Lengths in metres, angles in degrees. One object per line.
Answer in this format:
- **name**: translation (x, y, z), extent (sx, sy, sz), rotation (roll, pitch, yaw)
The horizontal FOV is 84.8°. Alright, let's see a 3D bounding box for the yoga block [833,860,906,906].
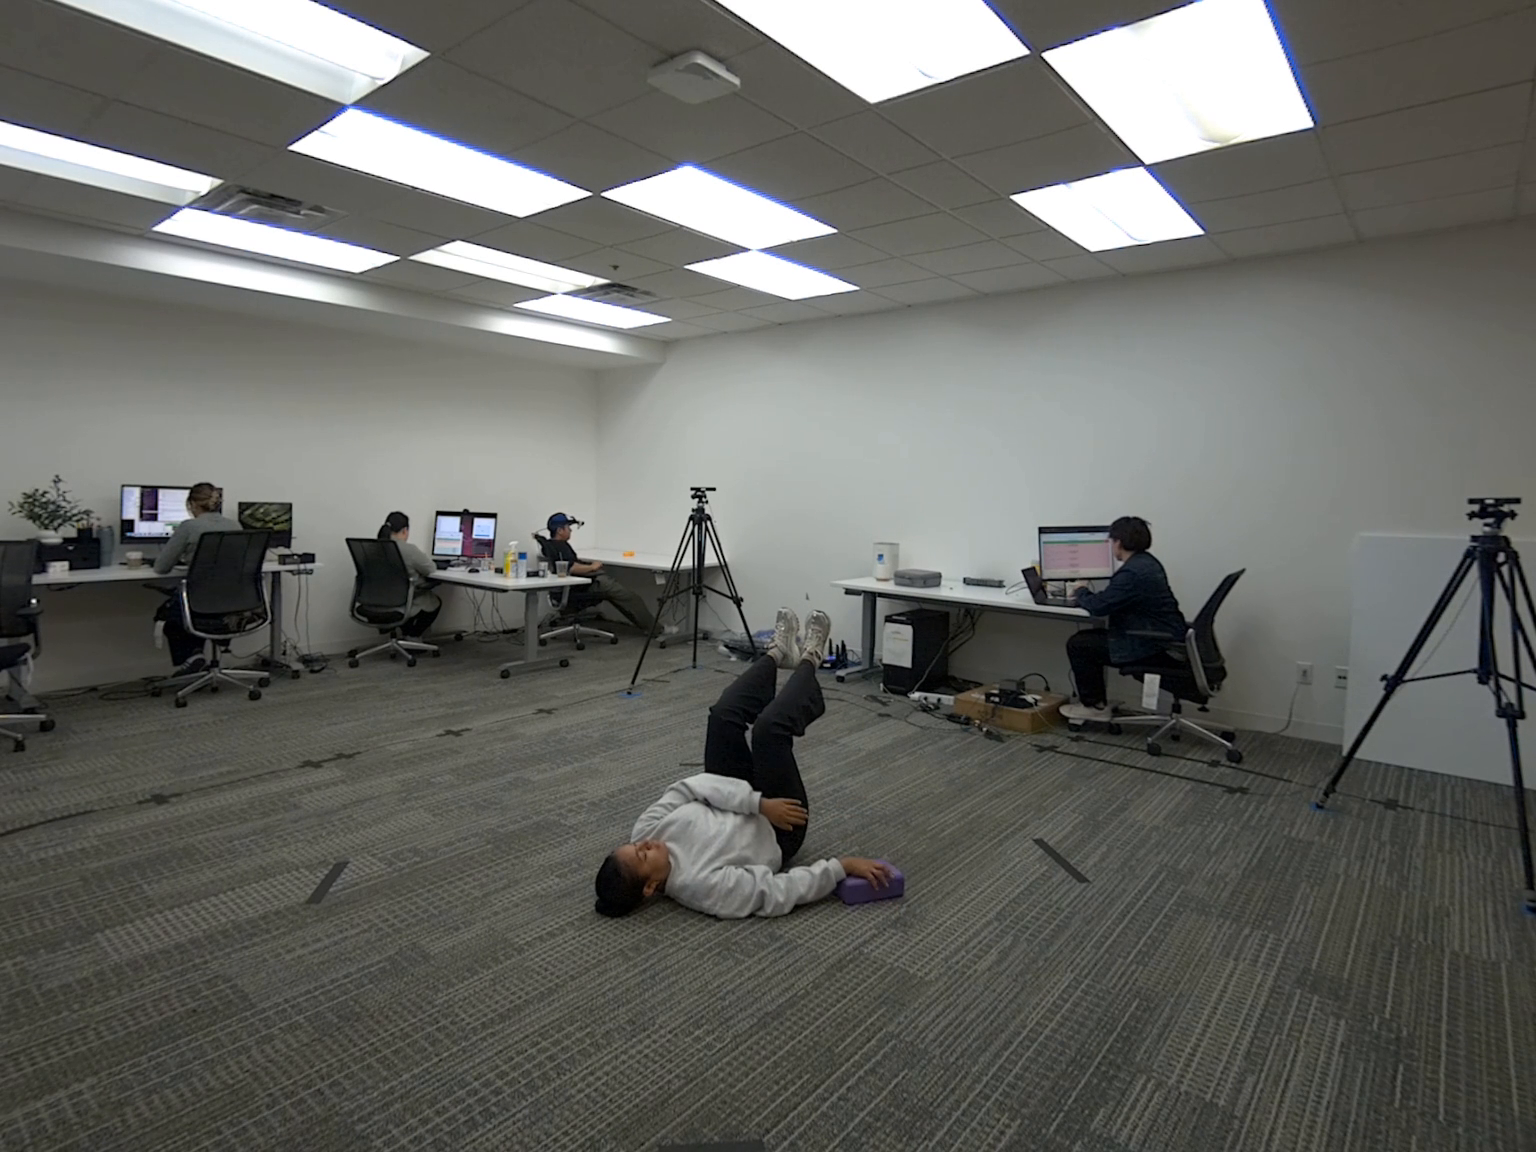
- **yoga block**: translation (0.326, 1.059, 2.954), extent (0.224, 0.076, 0.153), rotation (0, 5, -21)
